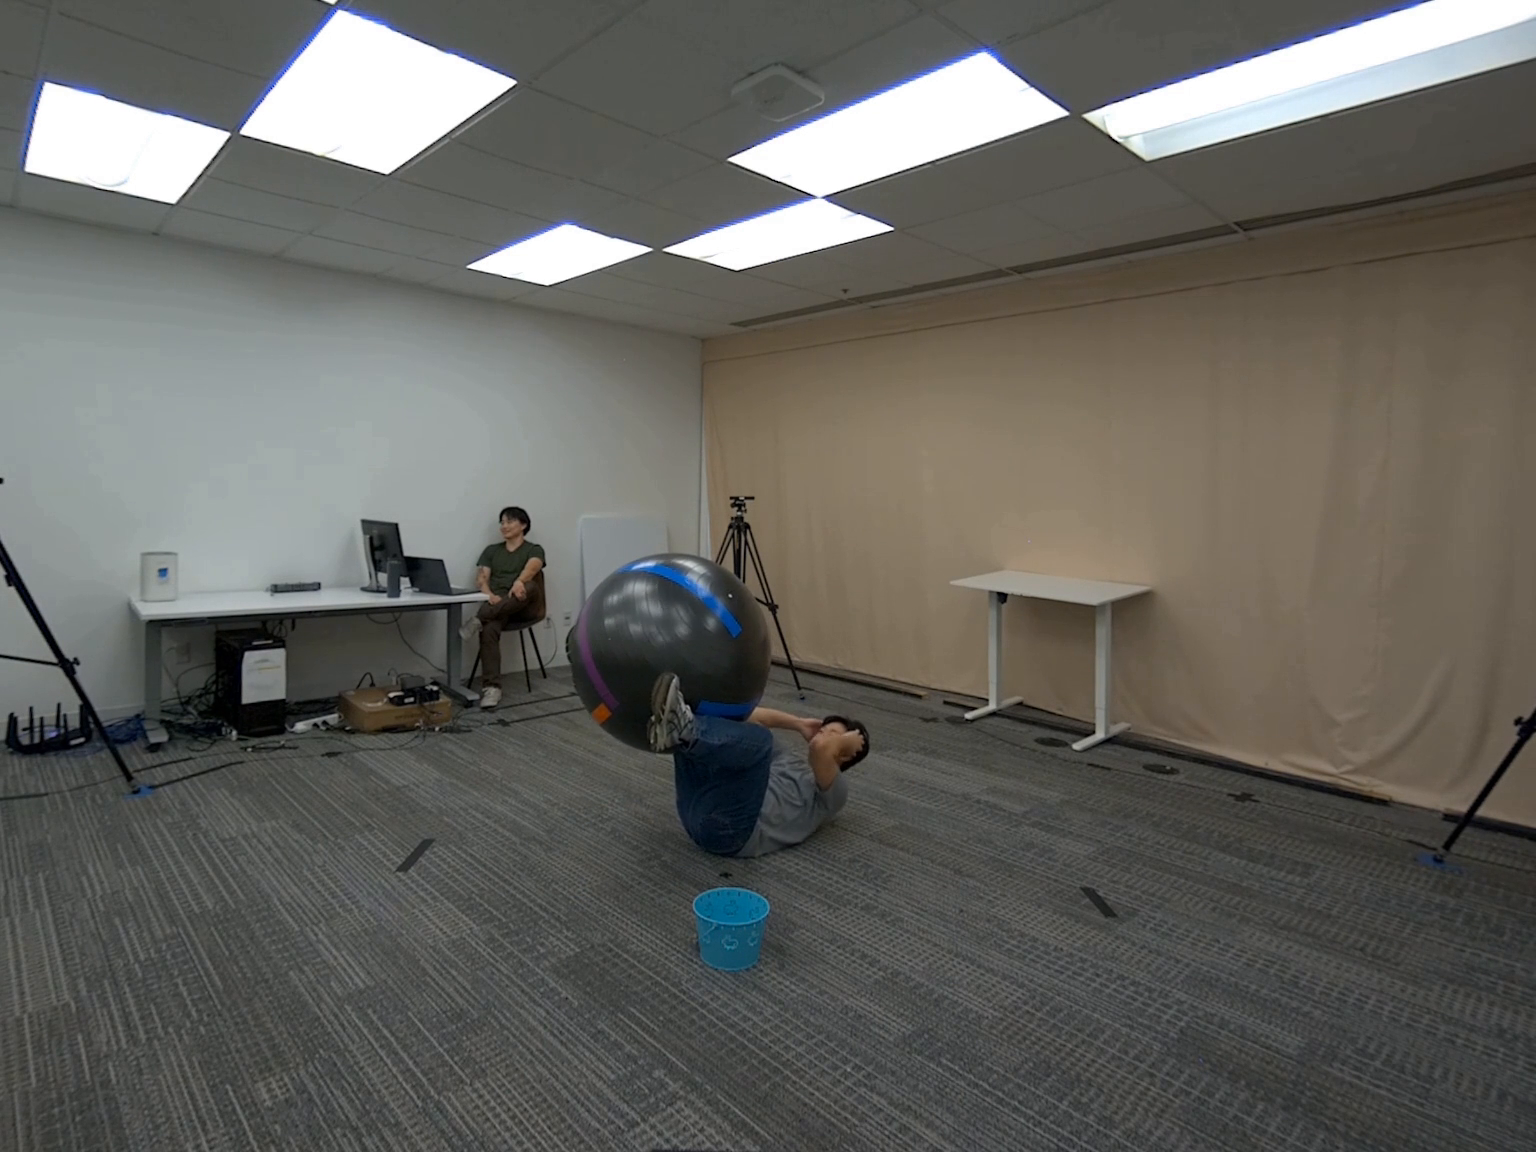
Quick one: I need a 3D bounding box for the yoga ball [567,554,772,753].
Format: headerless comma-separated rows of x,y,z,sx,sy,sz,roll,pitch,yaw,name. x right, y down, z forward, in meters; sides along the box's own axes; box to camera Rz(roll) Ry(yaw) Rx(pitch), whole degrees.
-0.367,0.294,3.208,0.757,0.756,0.761,1,4,-1,yoga ball
